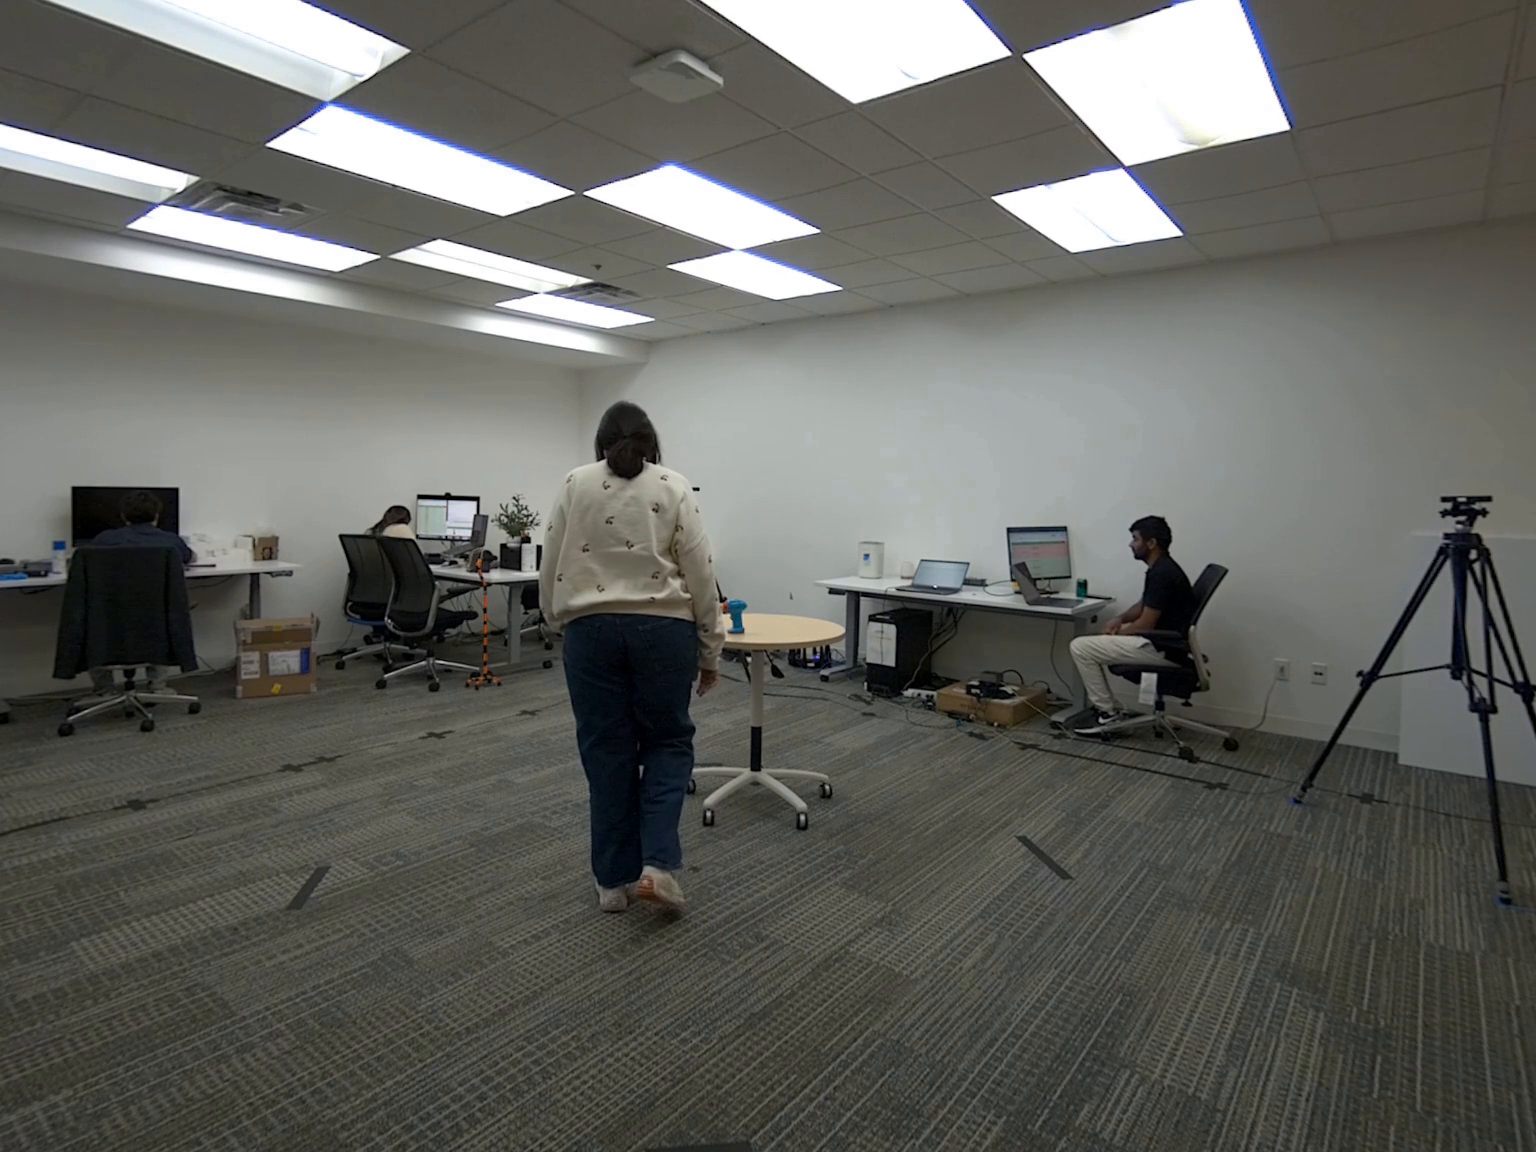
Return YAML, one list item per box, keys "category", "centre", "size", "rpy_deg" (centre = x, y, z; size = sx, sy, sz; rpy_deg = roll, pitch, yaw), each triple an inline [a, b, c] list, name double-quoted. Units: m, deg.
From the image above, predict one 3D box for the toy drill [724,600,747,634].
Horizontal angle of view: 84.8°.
- category: "toy drill"
  centre: [-0.181, 0.166, 3.592]
  size: [0.166, 0.145, 0.062]
  rpy_deg: [-1, 4, -22]
